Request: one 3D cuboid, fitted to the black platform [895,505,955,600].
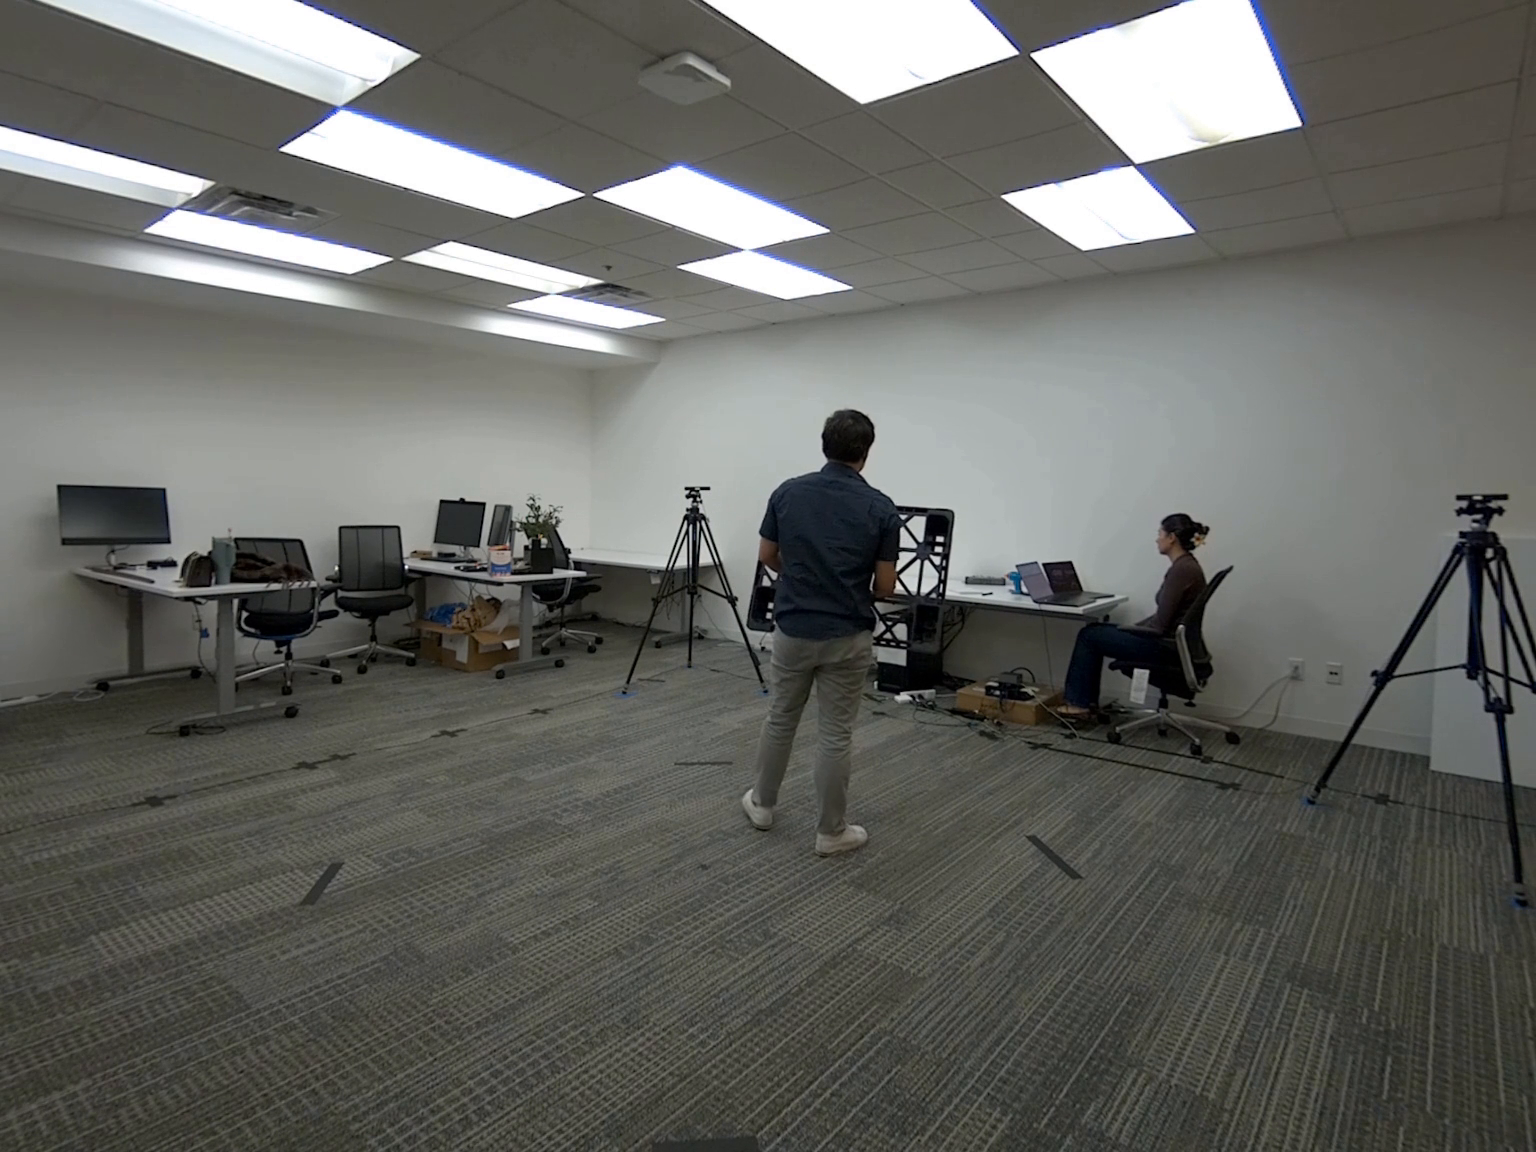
[{"bbox_3d":[0.339,-0.014,3.598,0.824,0.612,0.138,5,-17,20],"label":"black platform"}]
